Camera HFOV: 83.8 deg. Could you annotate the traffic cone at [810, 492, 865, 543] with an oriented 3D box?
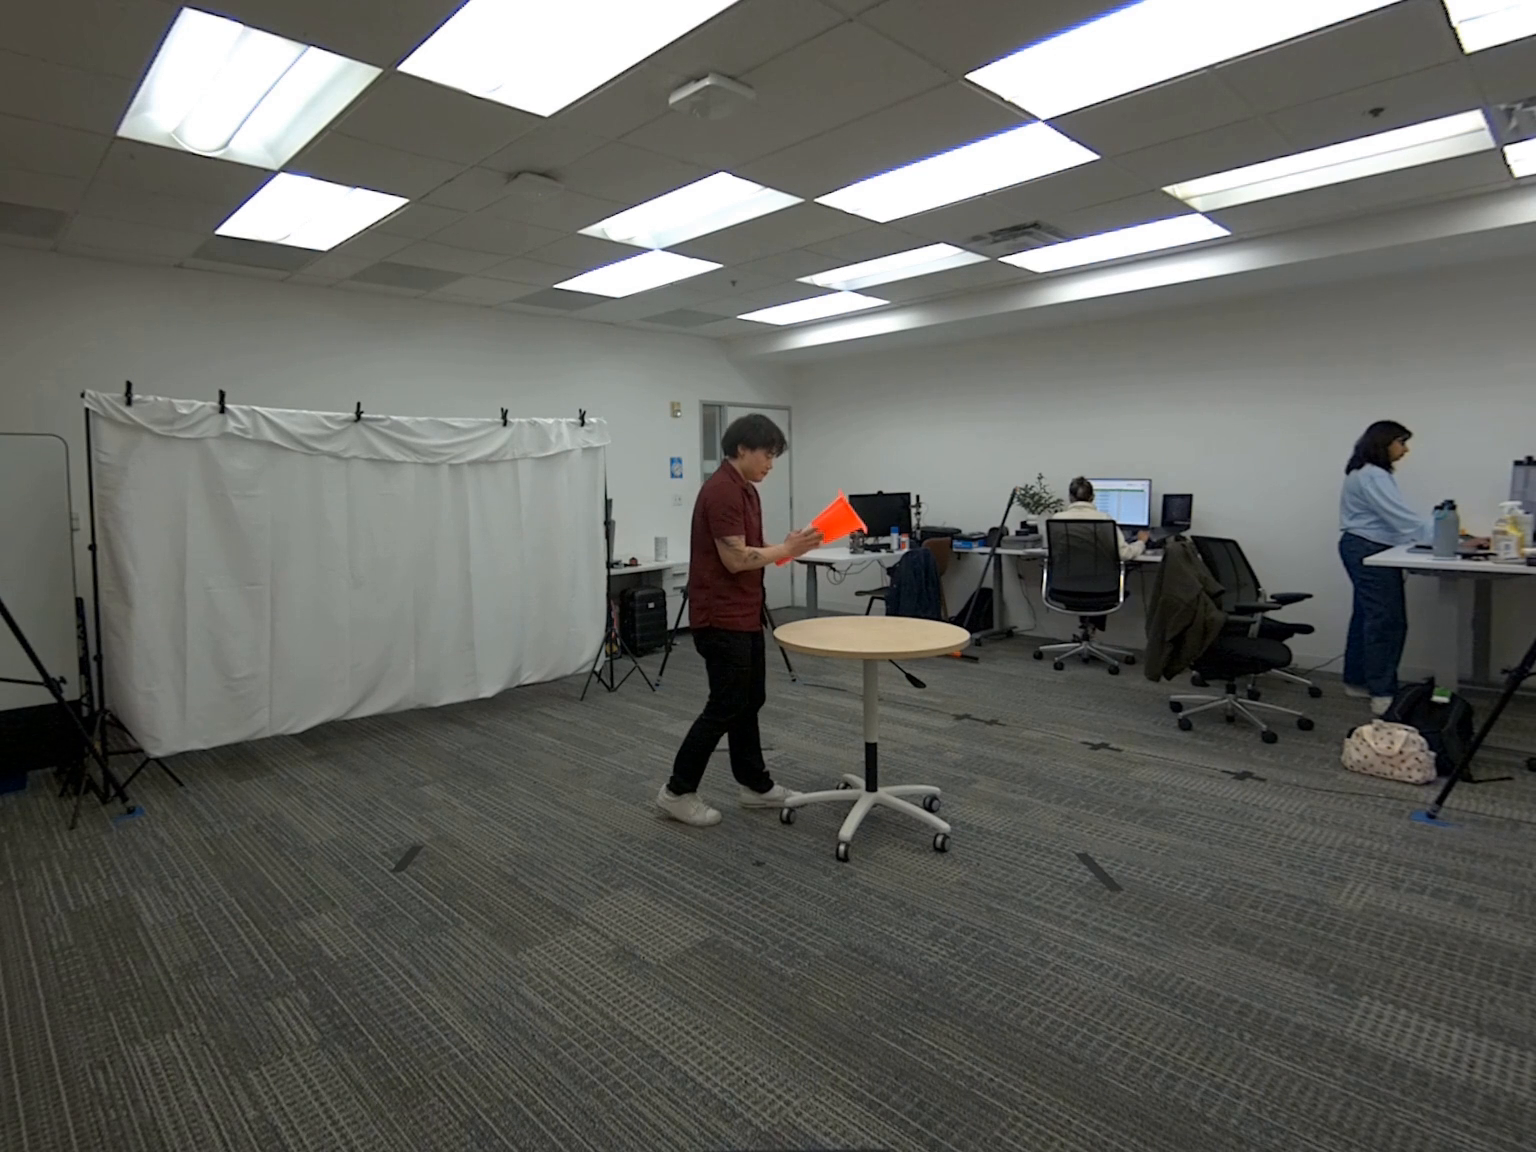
[{"bbox_3d":[0.178,-0.158,3.468,0.385,0.207,0.201,-32,-5,9],"label":"traffic cone"}]
